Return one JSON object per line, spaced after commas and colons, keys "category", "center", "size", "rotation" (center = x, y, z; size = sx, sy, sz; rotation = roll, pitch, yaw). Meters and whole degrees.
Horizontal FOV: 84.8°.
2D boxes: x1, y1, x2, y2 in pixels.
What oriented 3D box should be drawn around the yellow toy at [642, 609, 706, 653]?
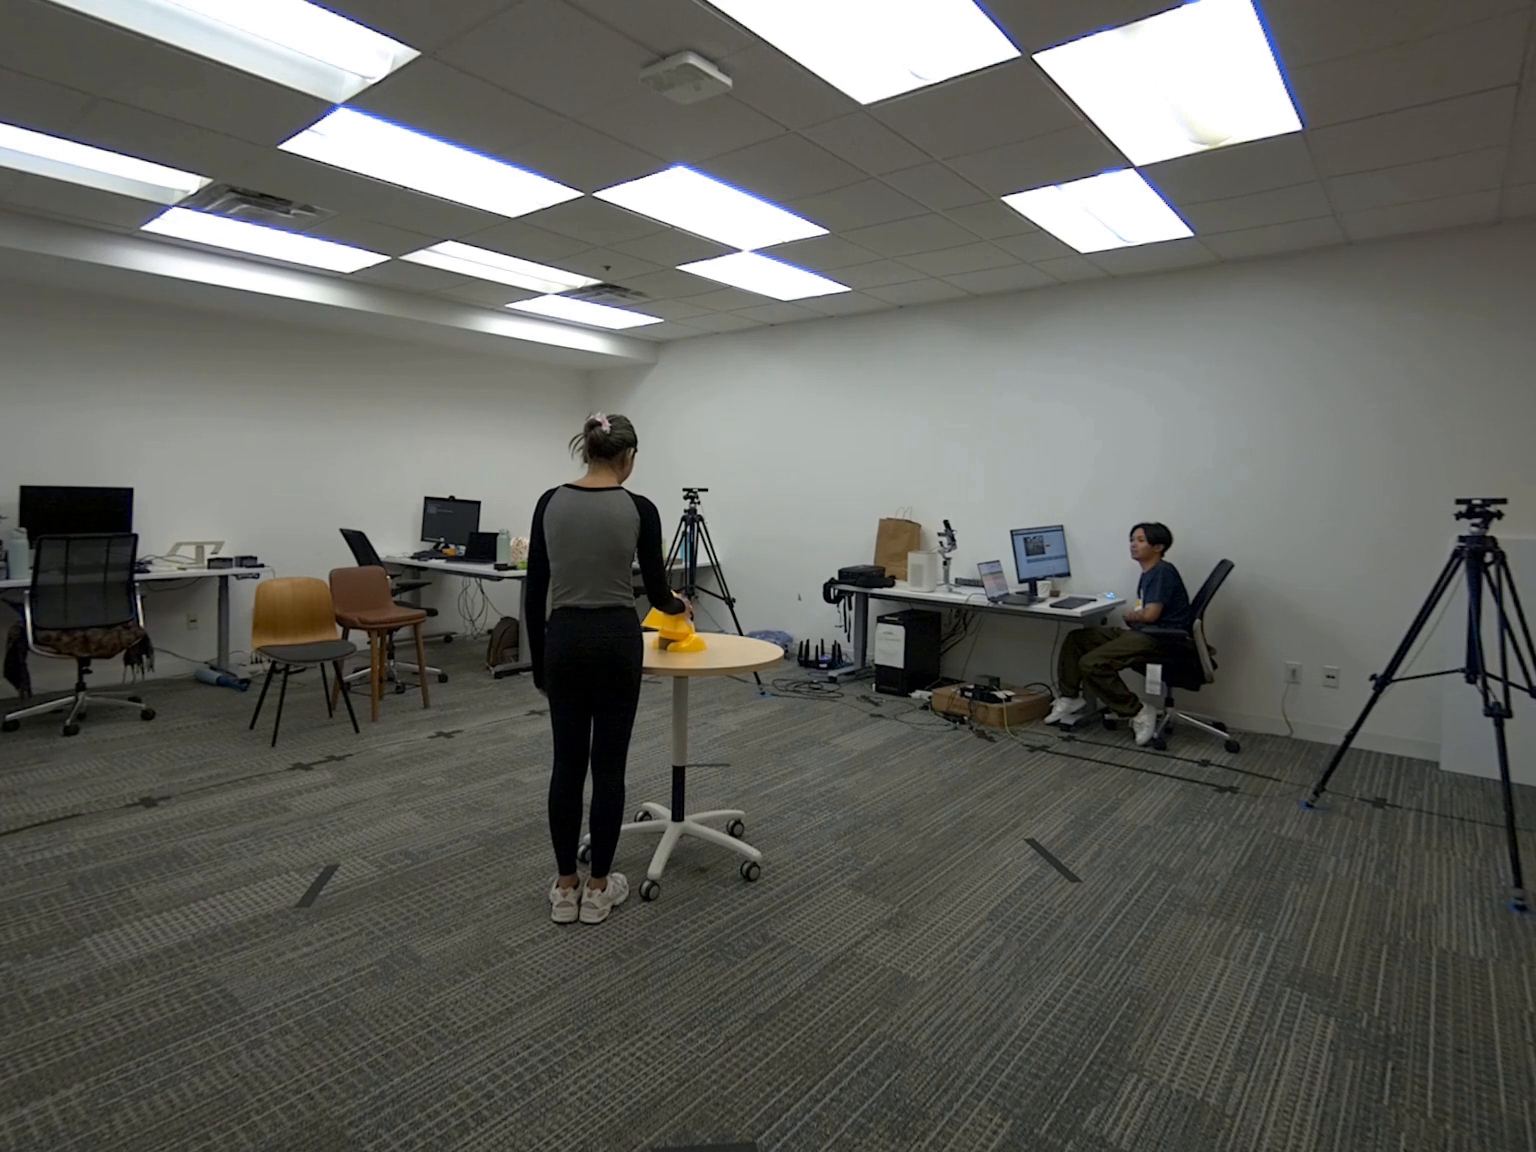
{"category": "yellow toy", "center": [-0.350, 0.153, 3.190], "size": [0.212, 0.230, 0.187], "rotation": [4, 3, 43]}
